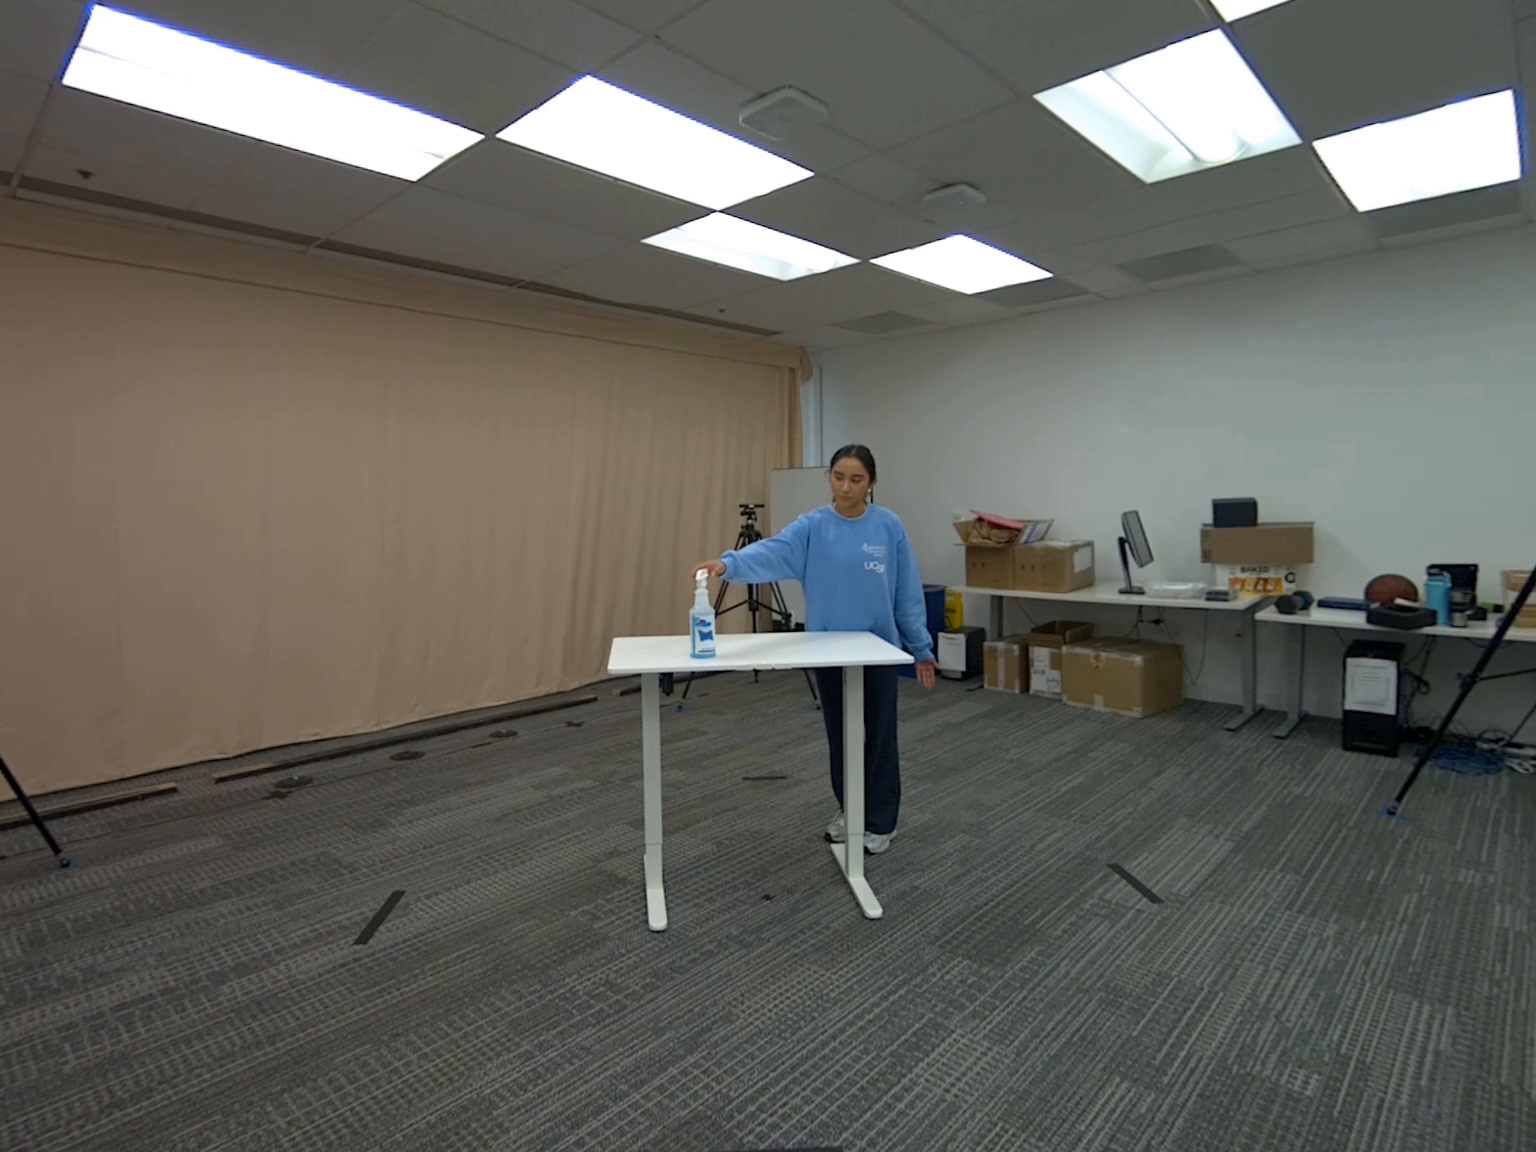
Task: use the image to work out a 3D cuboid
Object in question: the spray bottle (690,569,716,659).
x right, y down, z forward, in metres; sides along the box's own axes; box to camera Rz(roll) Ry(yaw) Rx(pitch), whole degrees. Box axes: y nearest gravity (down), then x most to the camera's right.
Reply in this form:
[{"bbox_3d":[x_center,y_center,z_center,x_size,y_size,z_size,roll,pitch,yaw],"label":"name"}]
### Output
[{"bbox_3d":[-0.222,0.131,2.848,0.090,0.296,0.087,0,5,42],"label":"spray bottle"}]
